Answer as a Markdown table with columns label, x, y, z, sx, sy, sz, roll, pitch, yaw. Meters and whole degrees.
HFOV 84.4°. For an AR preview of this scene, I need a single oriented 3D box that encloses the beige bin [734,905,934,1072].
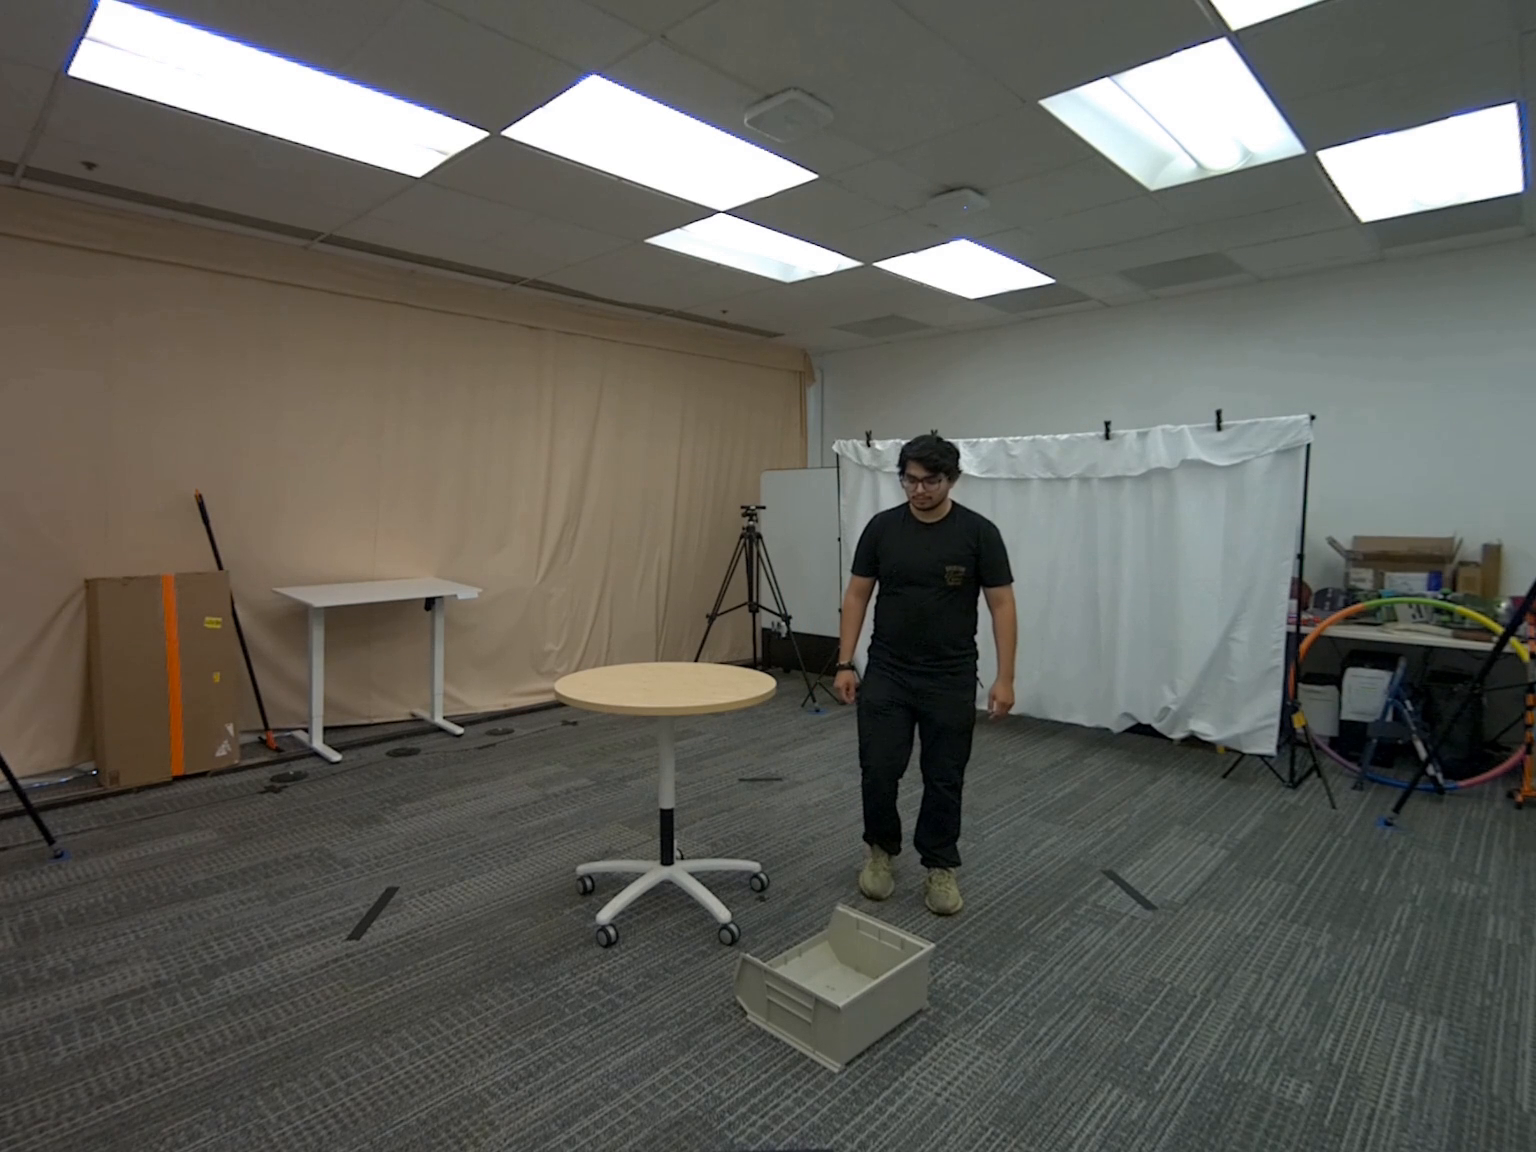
| label | x | y | z | sx | sy | sz | roll | pitch | yaw |
| --- | --- | --- | --- | --- | --- | --- | --- | --- | --- |
| beige bin | 0.184 | 1.112 | 2.321 | 0.409 | 0.188 | 0.390 | -4 | 6 | -45 |
